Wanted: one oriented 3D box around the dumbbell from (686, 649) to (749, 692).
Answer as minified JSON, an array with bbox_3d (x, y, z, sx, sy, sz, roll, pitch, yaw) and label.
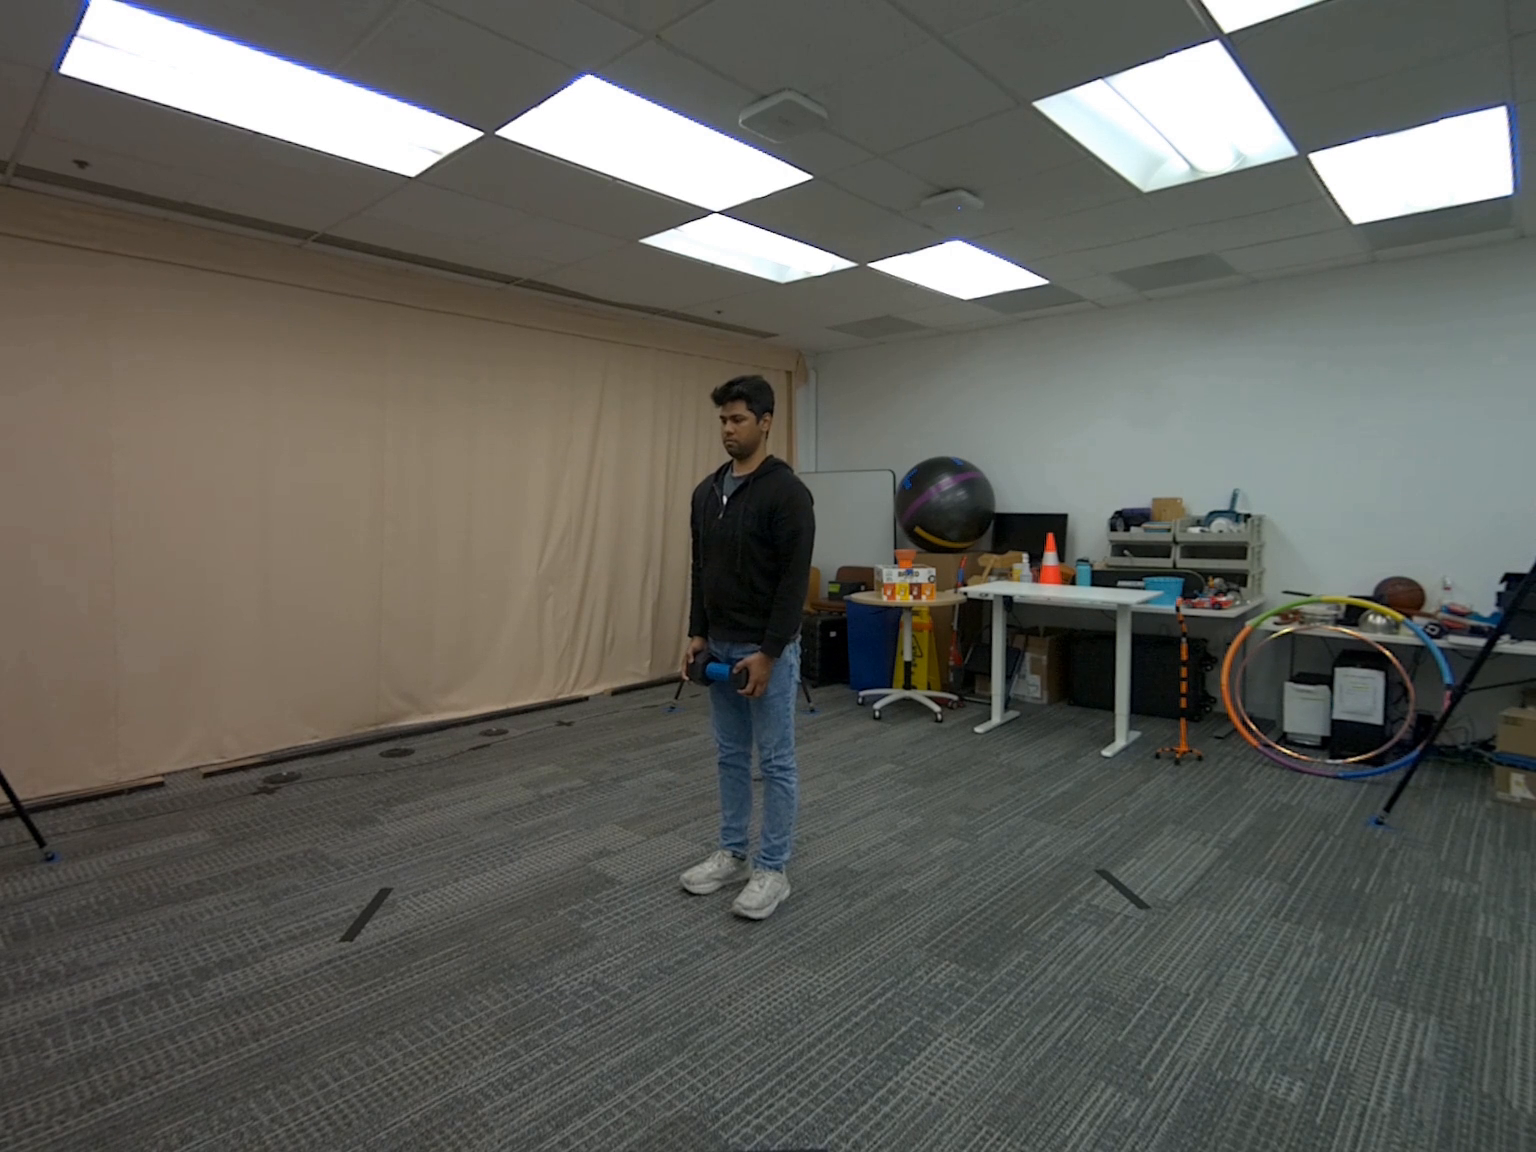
[{"bbox_3d":[-0.146,0.337,2.934,0.303,0.109,0.119,0,-32,46],"label":"dumbbell"}]
